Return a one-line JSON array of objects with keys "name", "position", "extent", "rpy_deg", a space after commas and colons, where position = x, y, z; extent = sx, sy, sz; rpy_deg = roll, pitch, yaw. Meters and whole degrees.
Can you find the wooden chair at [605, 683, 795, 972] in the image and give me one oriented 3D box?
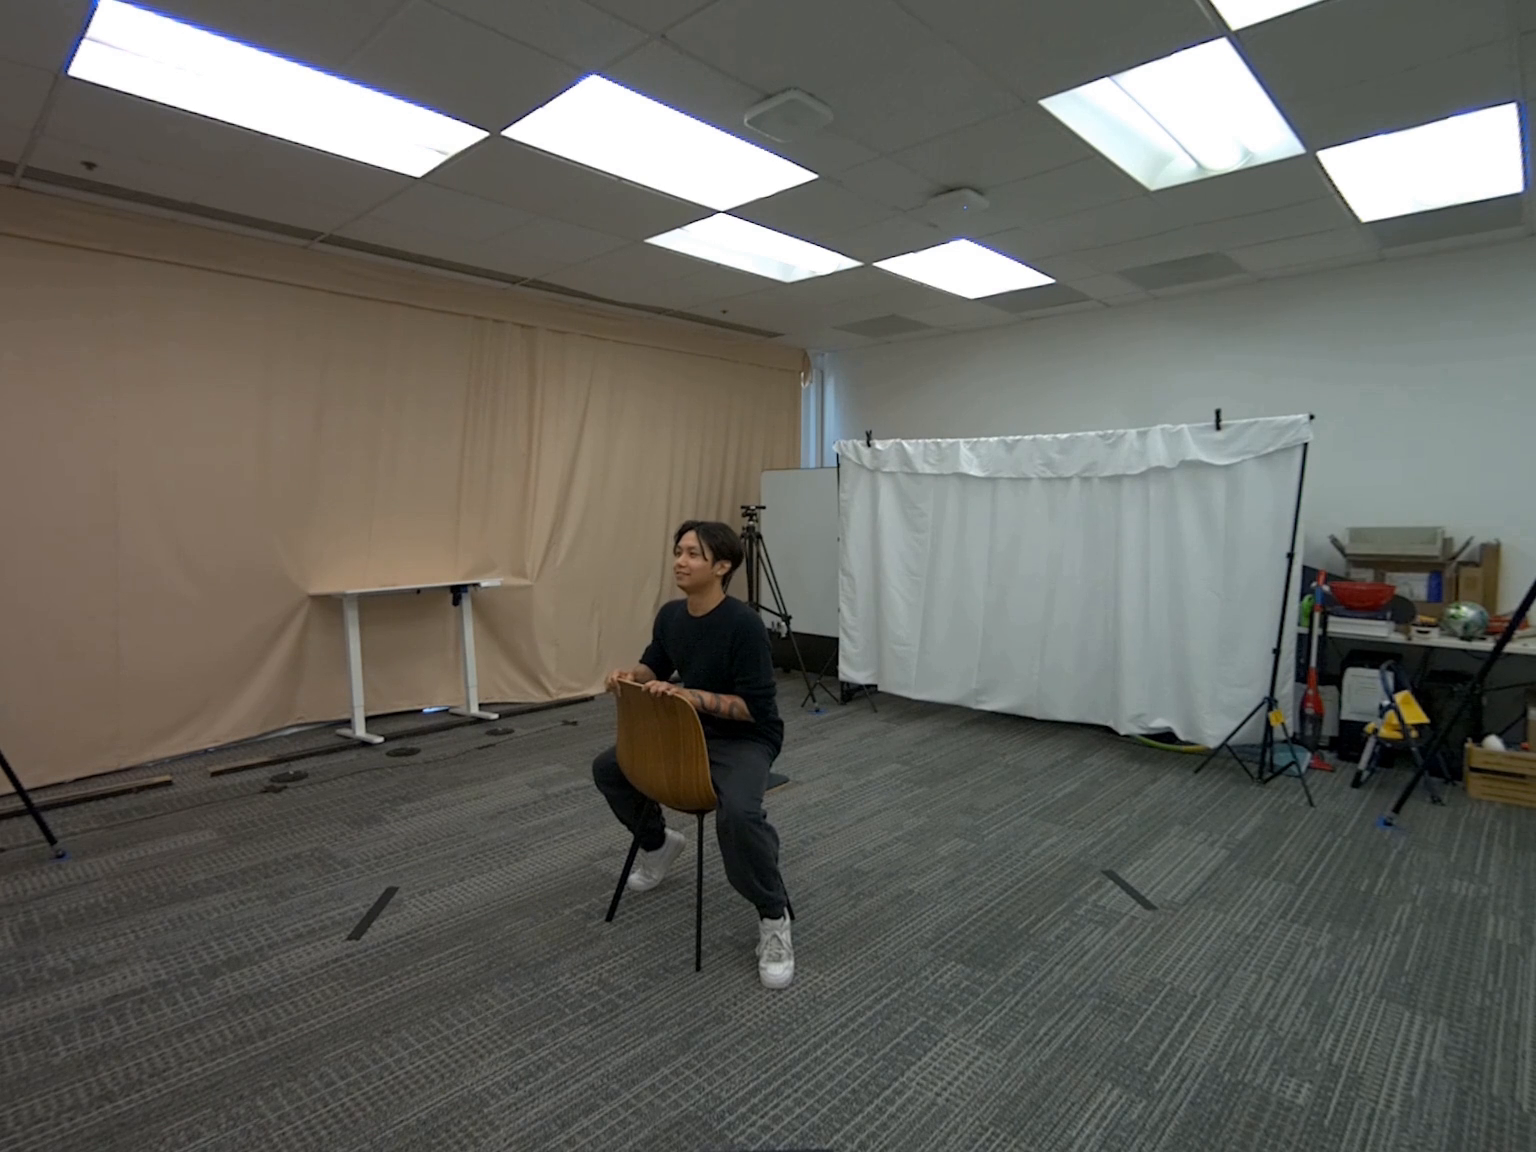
[{"name": "wooden chair", "position": [-0.223, 0.737, 2.811], "extent": [0.494, 0.874, 0.508], "rpy_deg": [3, 8, 43]}]
